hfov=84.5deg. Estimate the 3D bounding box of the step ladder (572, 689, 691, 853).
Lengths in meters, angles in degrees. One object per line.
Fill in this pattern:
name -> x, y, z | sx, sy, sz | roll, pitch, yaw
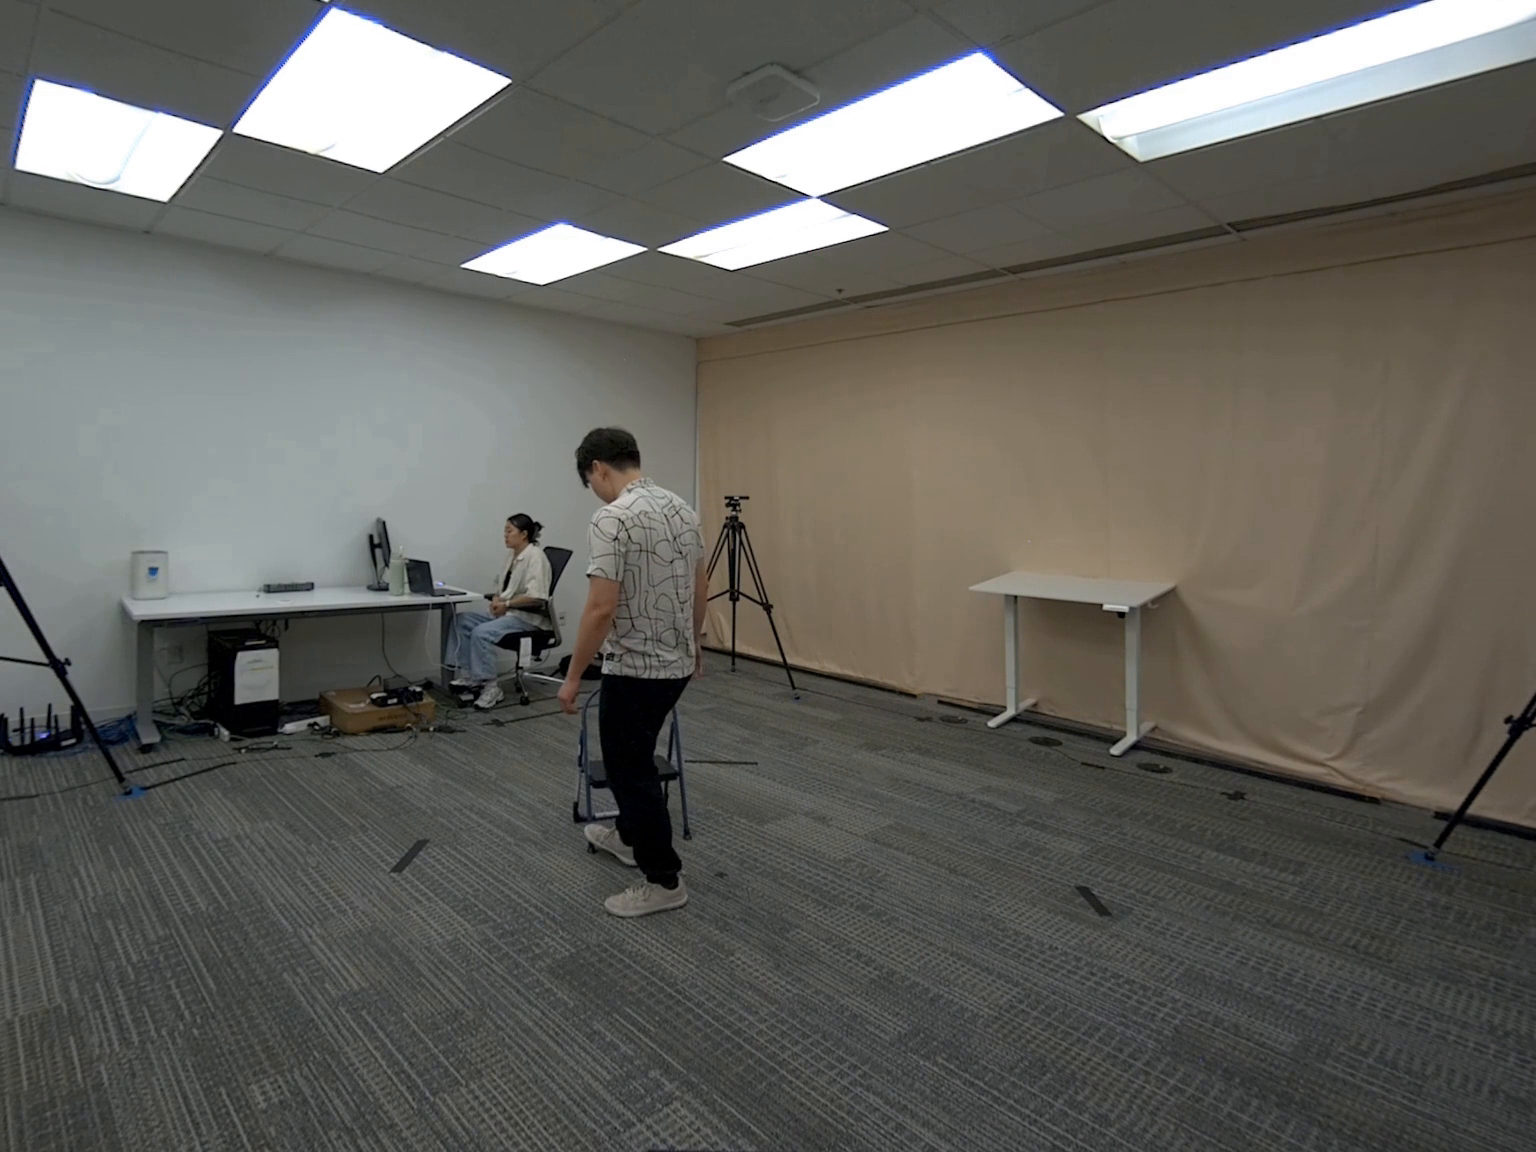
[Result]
step ladder -> -0.571, 0.756, 3.493 | 0.423, 0.605, 0.356 | 0, 3, -24
